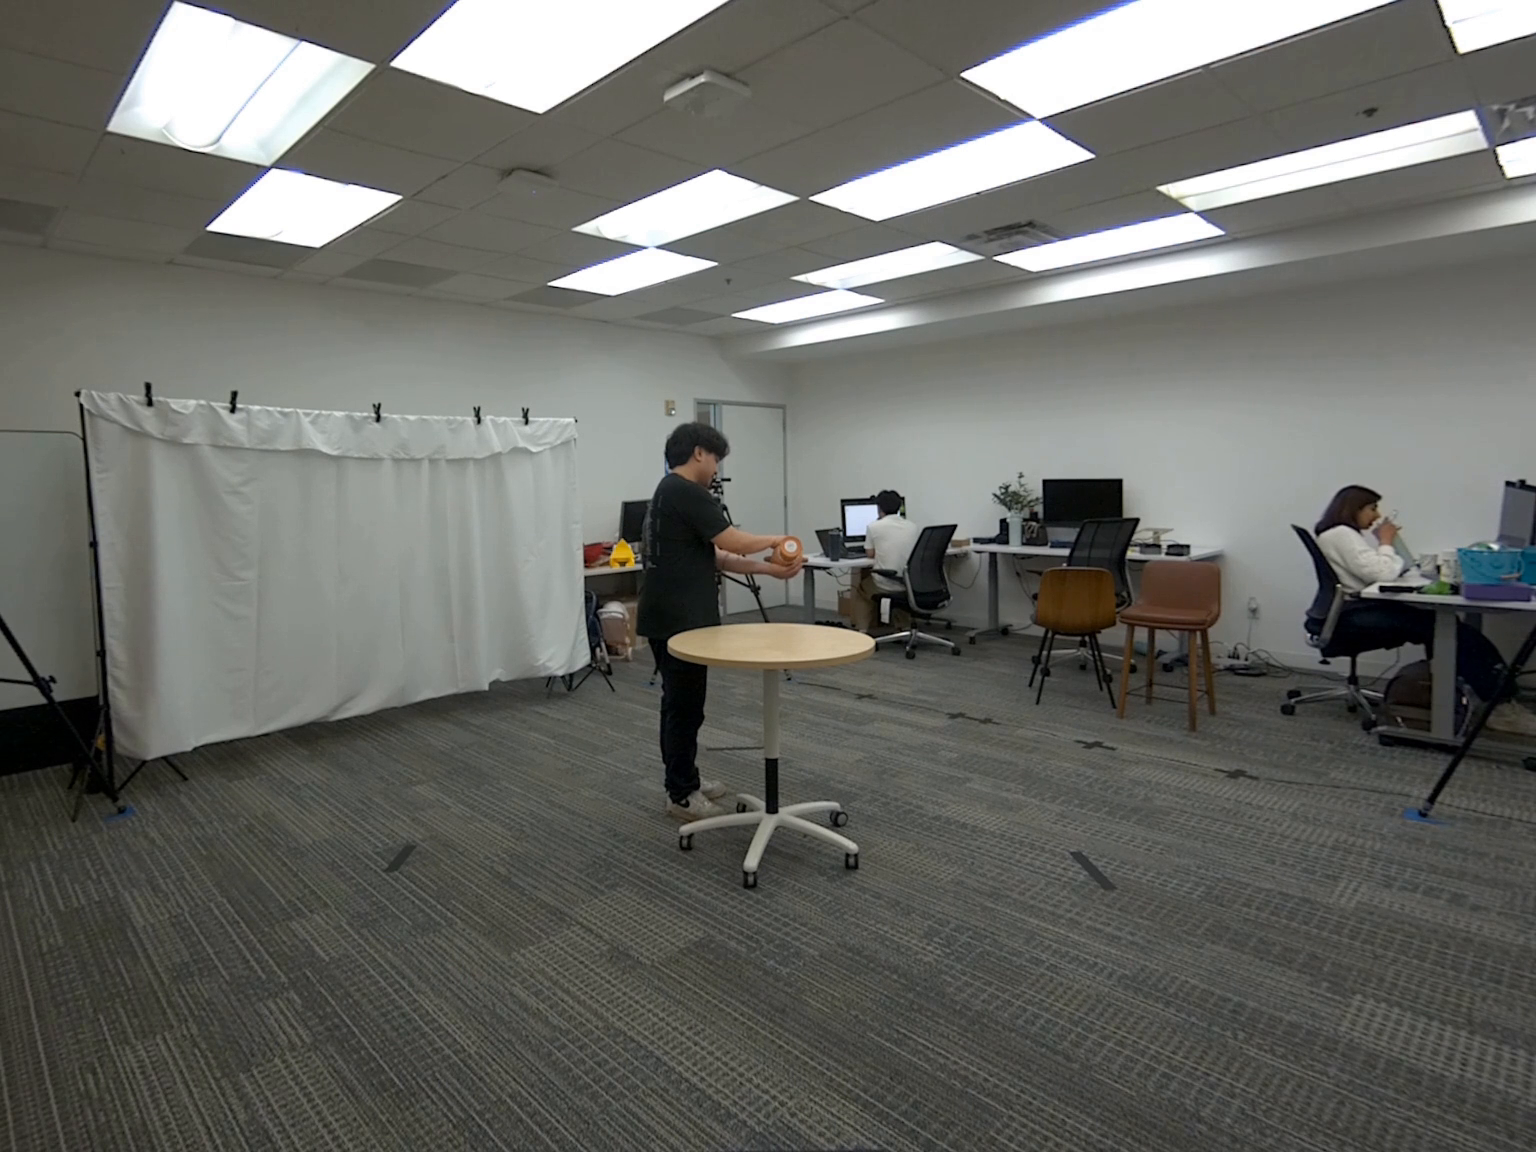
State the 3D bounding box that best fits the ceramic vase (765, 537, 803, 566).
[{"bbox_3d":[0.084,-0.093,3.708,0.158,0.137,0.216,-39,-13,-16],"label":"ceramic vase"}]
